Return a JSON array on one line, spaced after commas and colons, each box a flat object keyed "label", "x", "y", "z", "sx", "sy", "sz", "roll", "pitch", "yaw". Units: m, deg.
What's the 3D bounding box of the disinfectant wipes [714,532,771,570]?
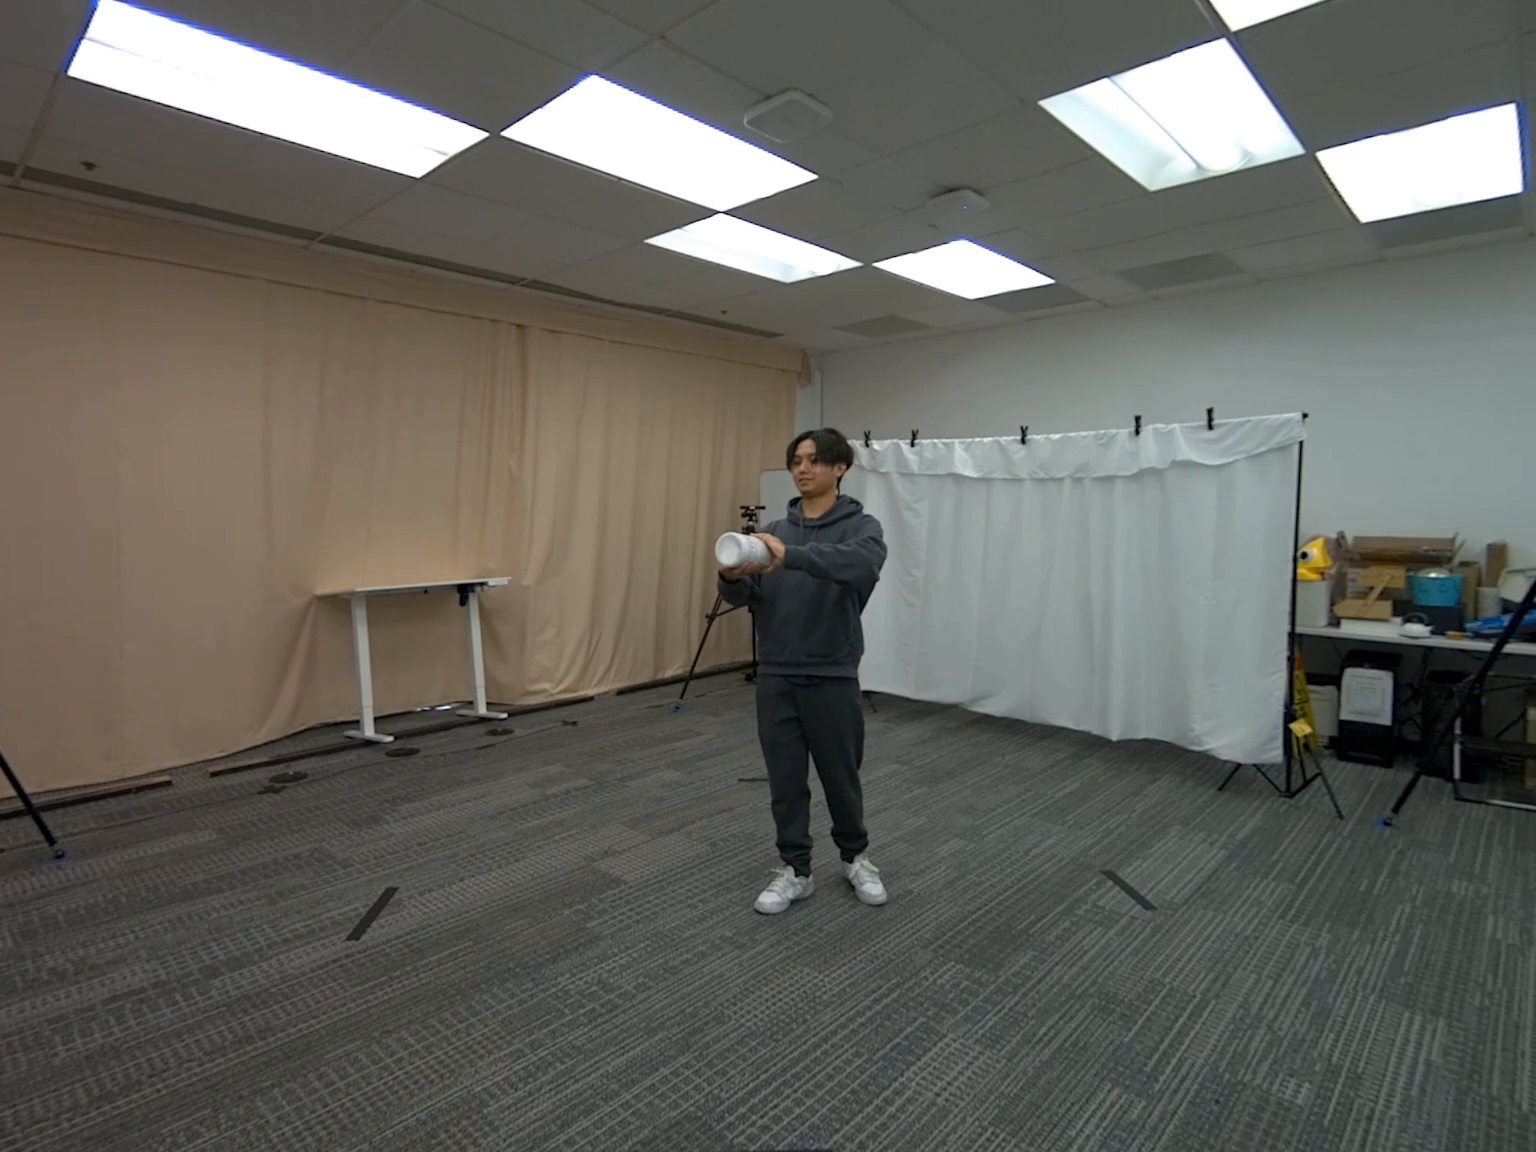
[{"label": "disinfectant wipes", "x": -0.066, "y": -0.071, "z": 2.671, "sx": 0.121, "sy": 0.118, "sz": 0.210, "roll": 3, "pitch": -4, "yaw": 33}]
